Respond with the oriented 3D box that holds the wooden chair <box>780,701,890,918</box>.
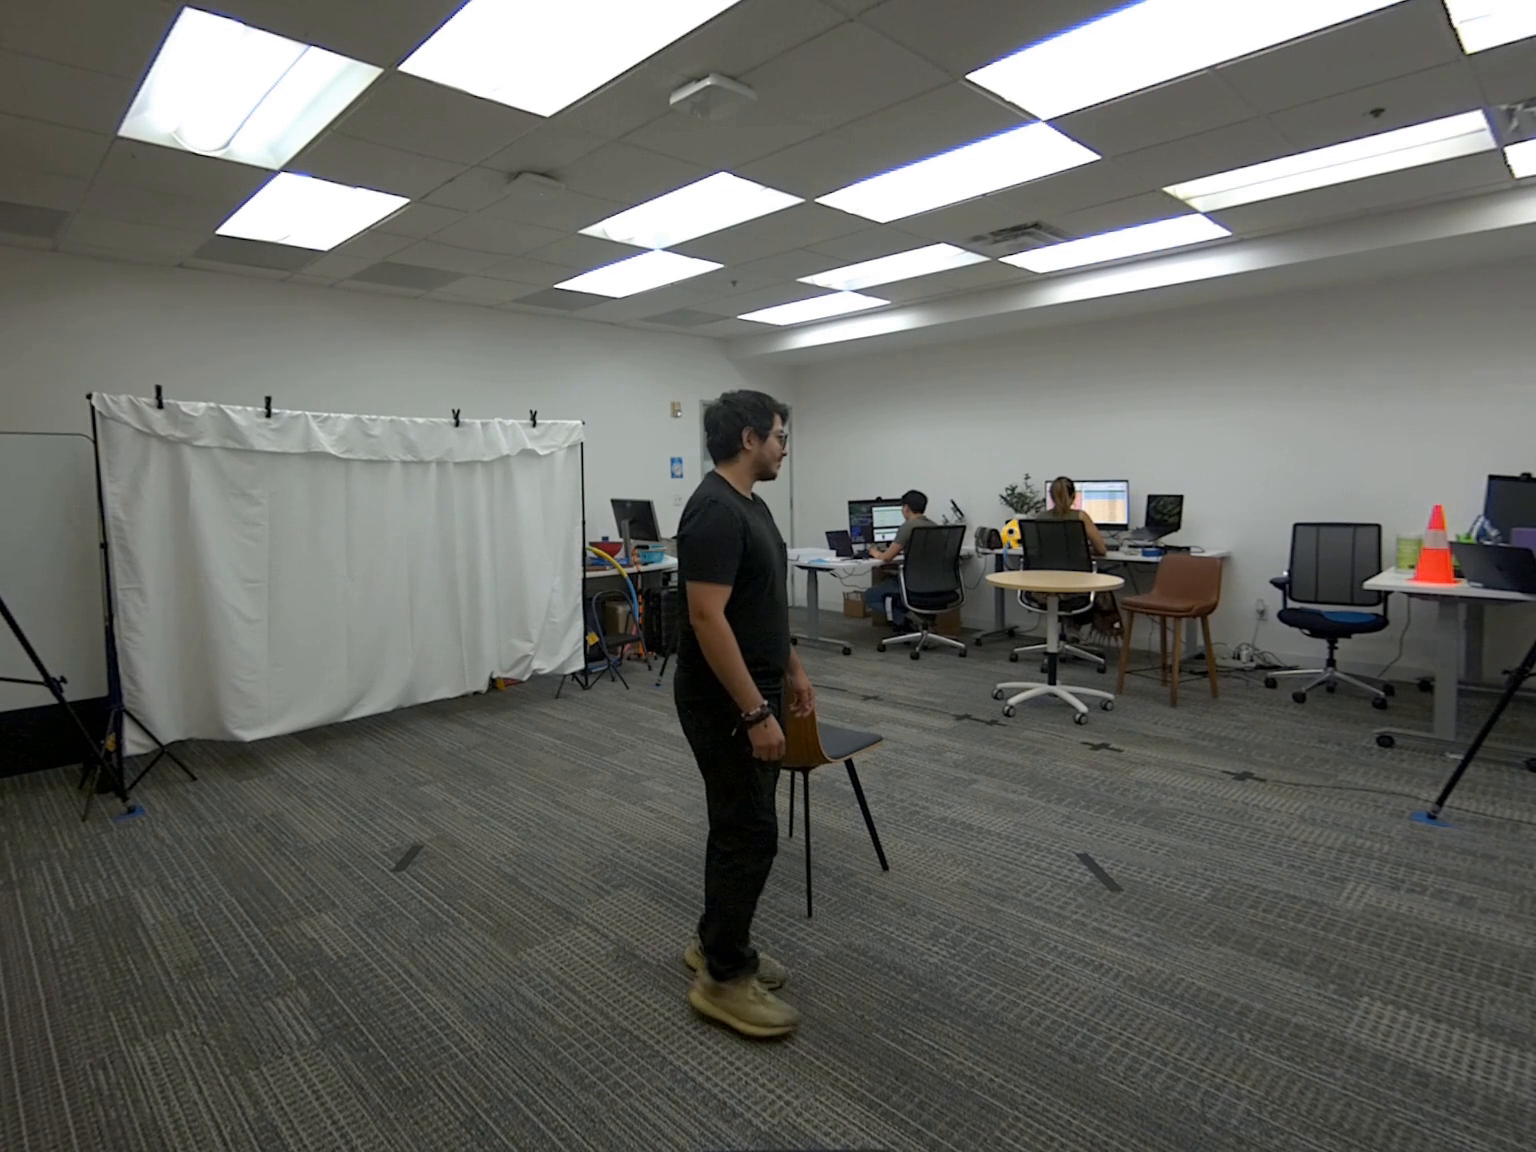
[{"bbox_3d":[0.114,0.629,3.004,0.492,0.871,0.511,3,10,43],"label":"wooden chair"}]
